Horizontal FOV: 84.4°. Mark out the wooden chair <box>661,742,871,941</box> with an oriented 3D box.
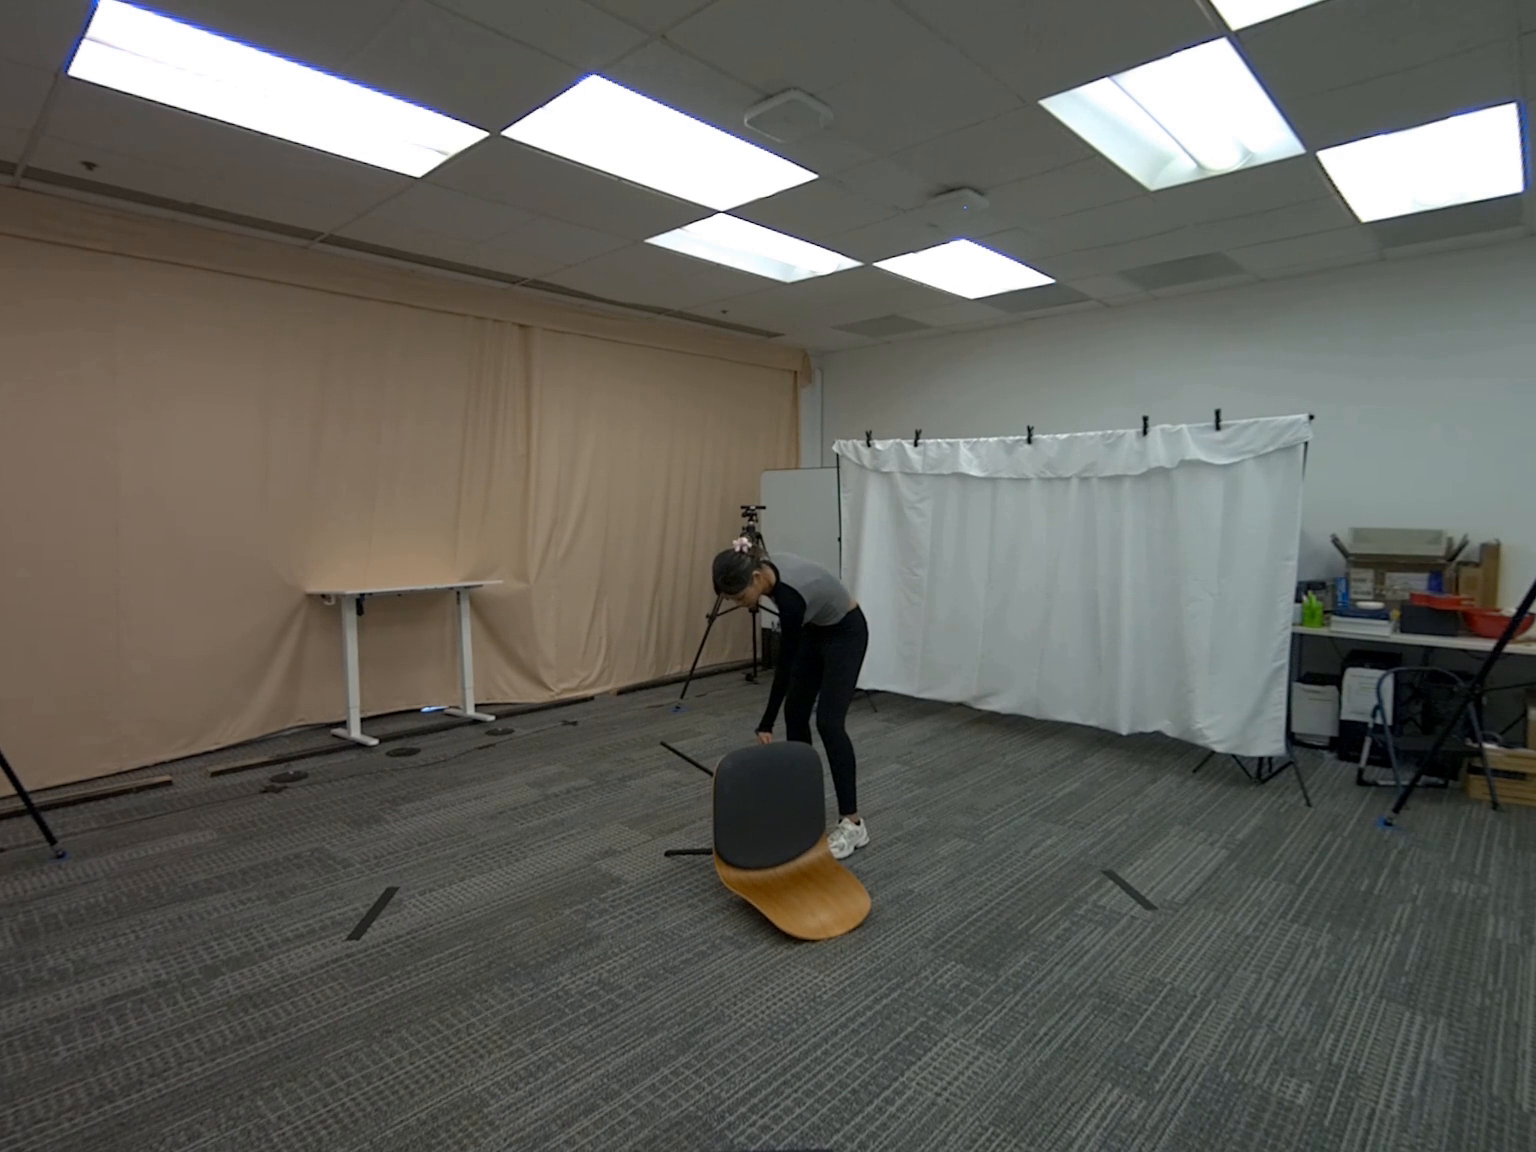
[{"bbox_3d":[-0.012,0.875,3.083,0.465,0.522,0.903,-2,5,-29],"label":"wooden chair"}]
